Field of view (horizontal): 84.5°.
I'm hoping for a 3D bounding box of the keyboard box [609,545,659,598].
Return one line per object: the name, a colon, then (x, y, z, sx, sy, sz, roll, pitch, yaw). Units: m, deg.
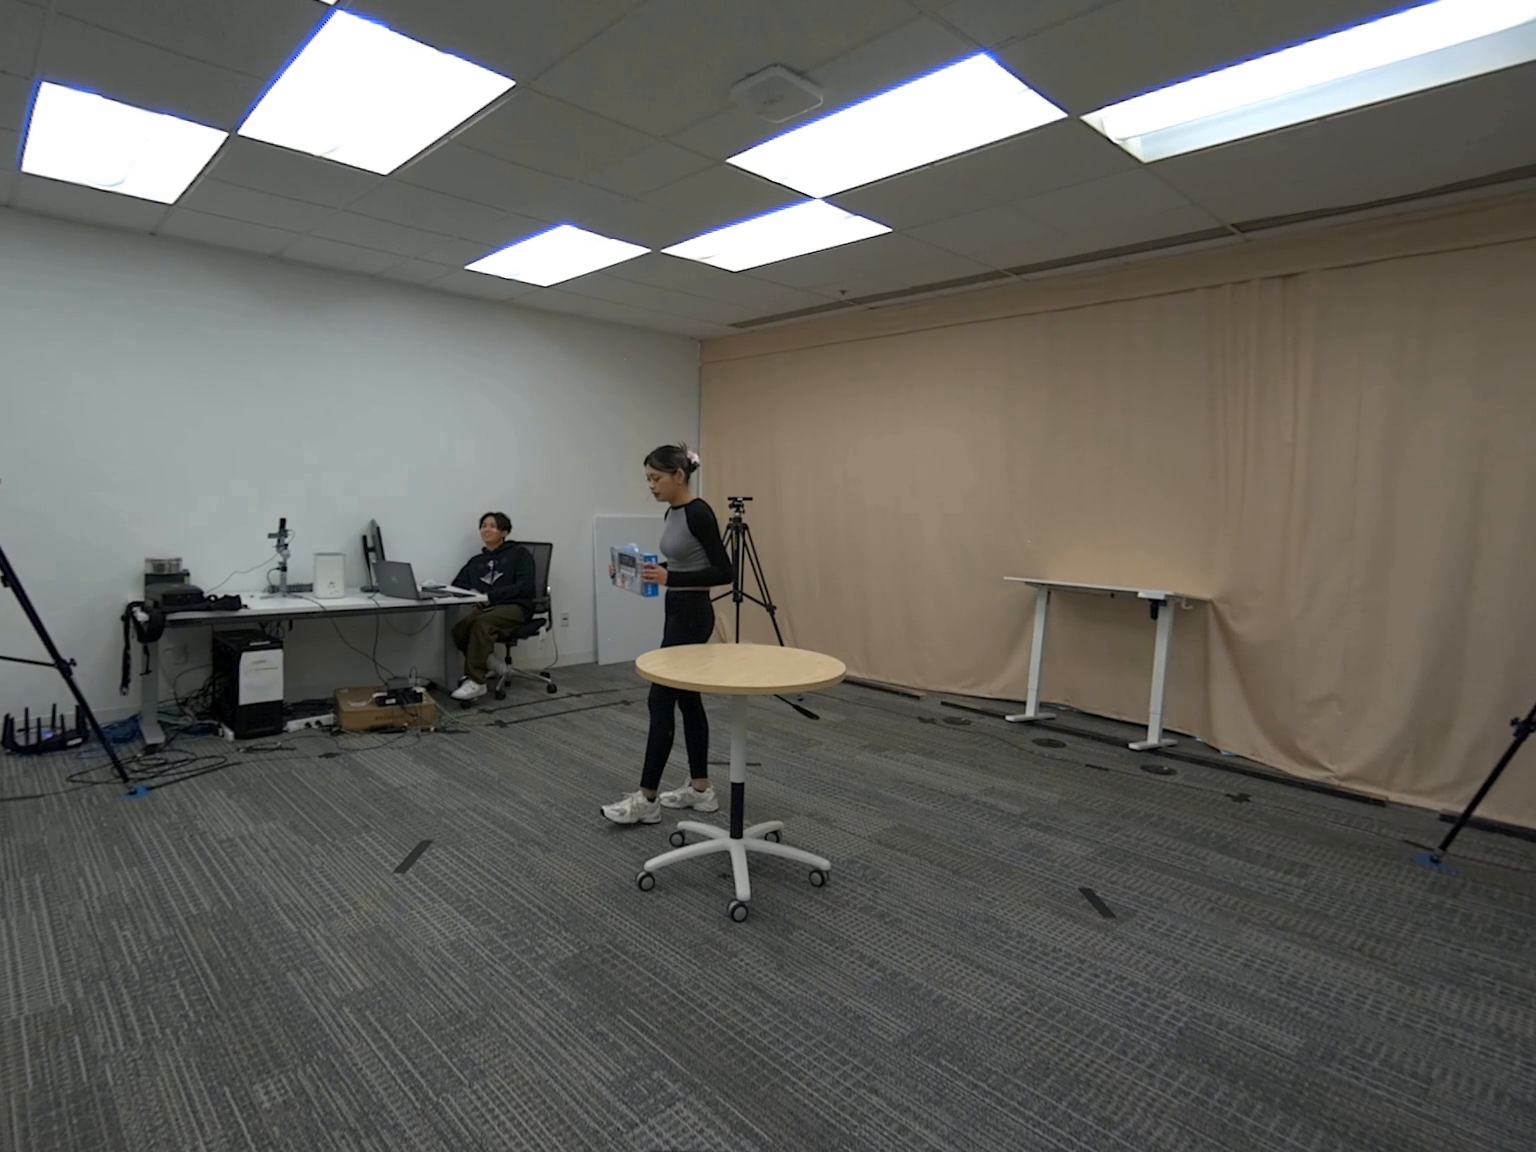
keyboard box: (-0.586, -0.023, 3.622, 0.058, 0.175, 0.447, -3, 8, -27)
